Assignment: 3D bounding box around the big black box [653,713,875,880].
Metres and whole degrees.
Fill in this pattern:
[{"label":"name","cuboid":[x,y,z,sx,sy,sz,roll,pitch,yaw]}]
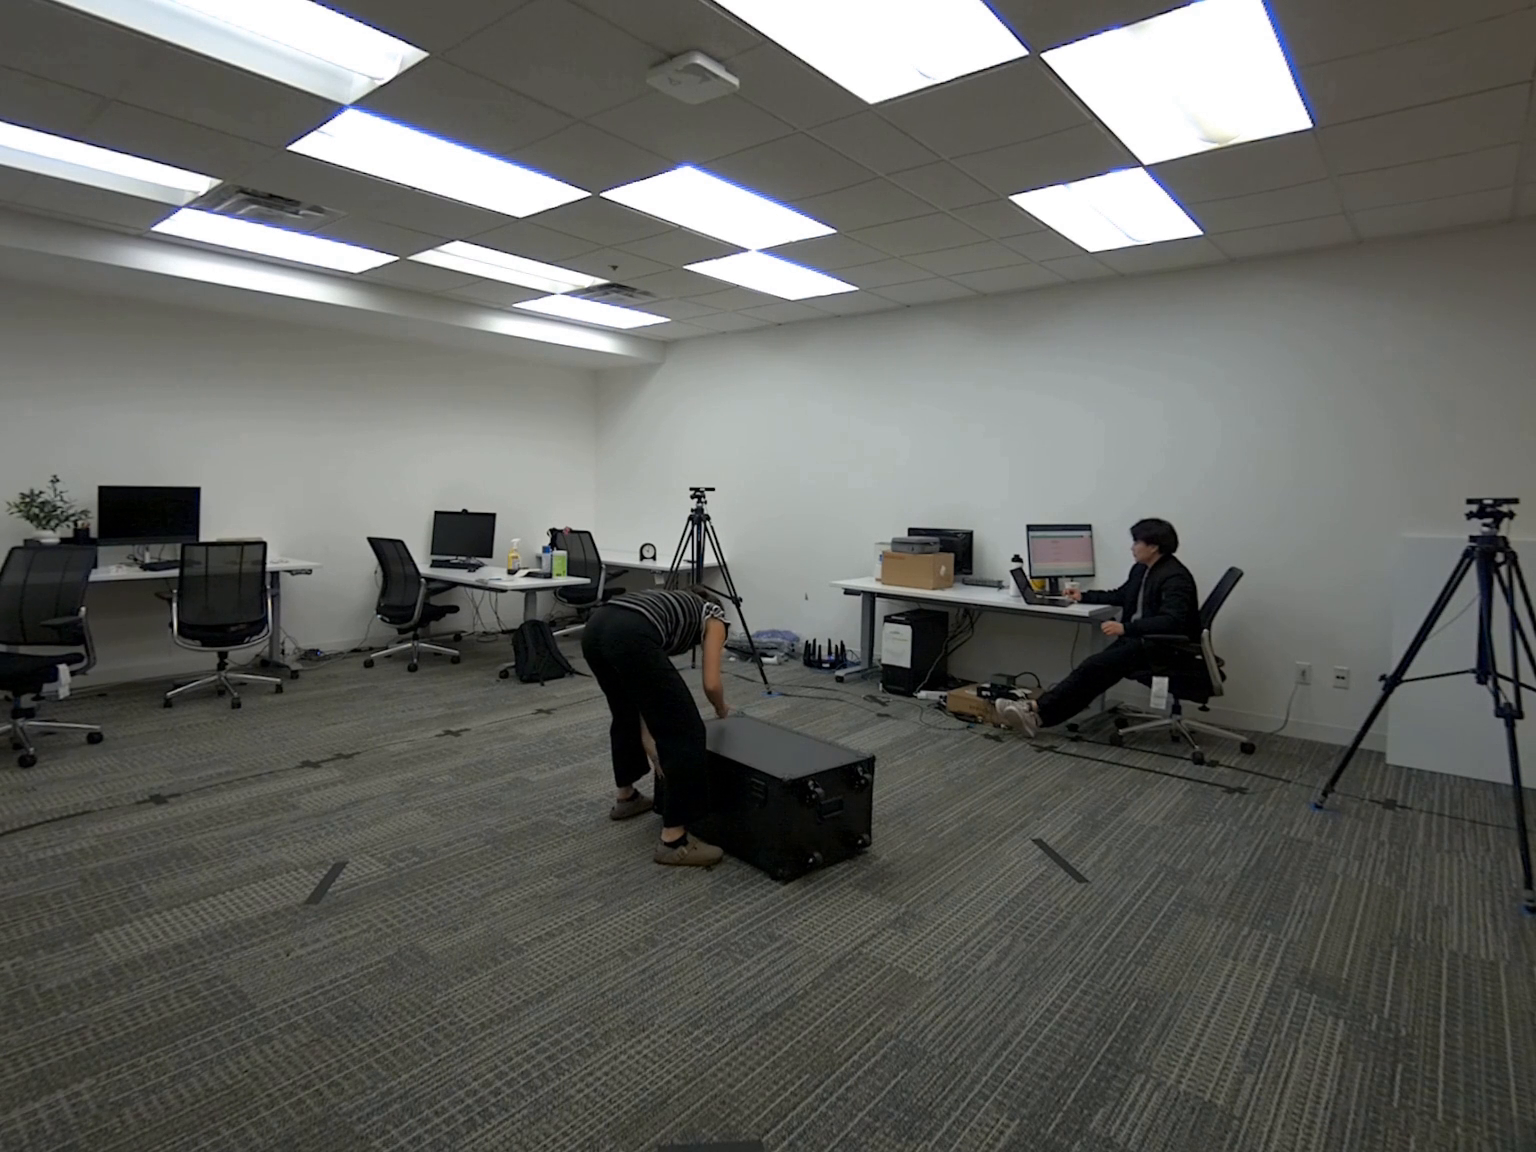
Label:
[{"label":"big black box","cuboid":[-0.020,0.853,3.395,0.506,0.395,0.890,-4,6,-42]}]
